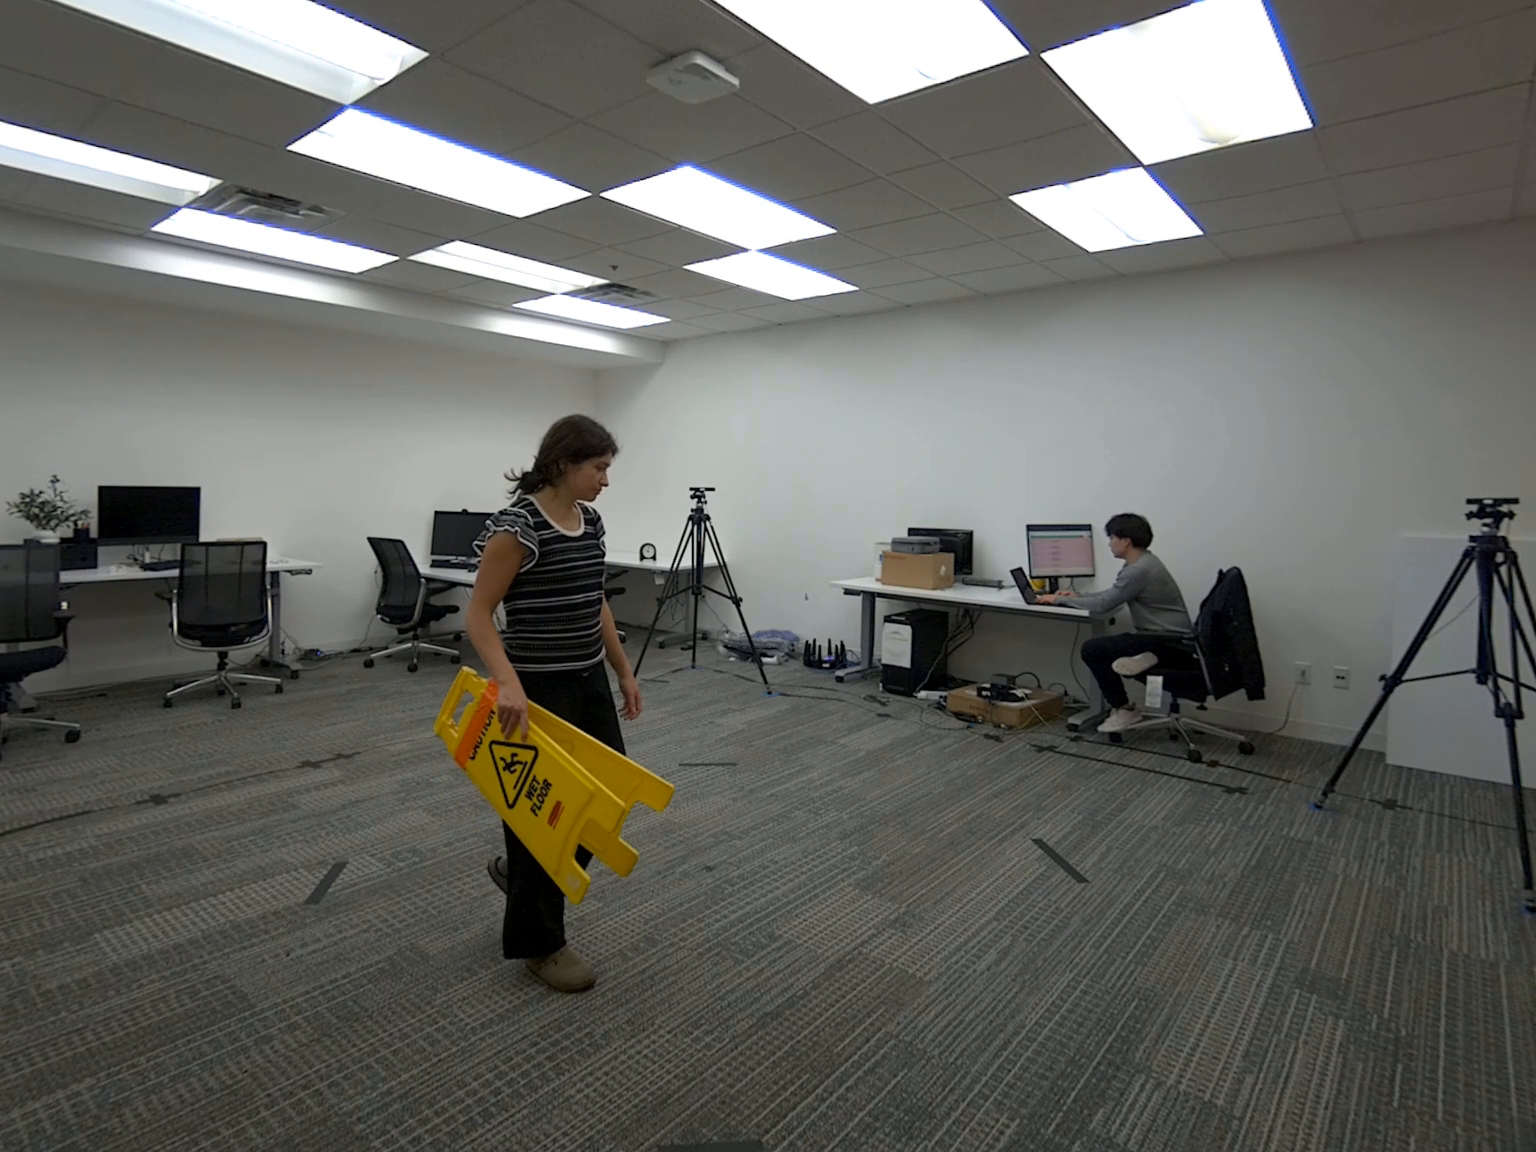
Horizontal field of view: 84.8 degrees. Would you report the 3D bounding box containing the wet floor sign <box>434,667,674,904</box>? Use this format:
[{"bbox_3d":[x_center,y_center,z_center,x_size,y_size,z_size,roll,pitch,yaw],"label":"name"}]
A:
[{"bbox_3d":[-0.604,0.484,2.164,0.665,0.281,0.282,31,9,22],"label":"wet floor sign"}]
